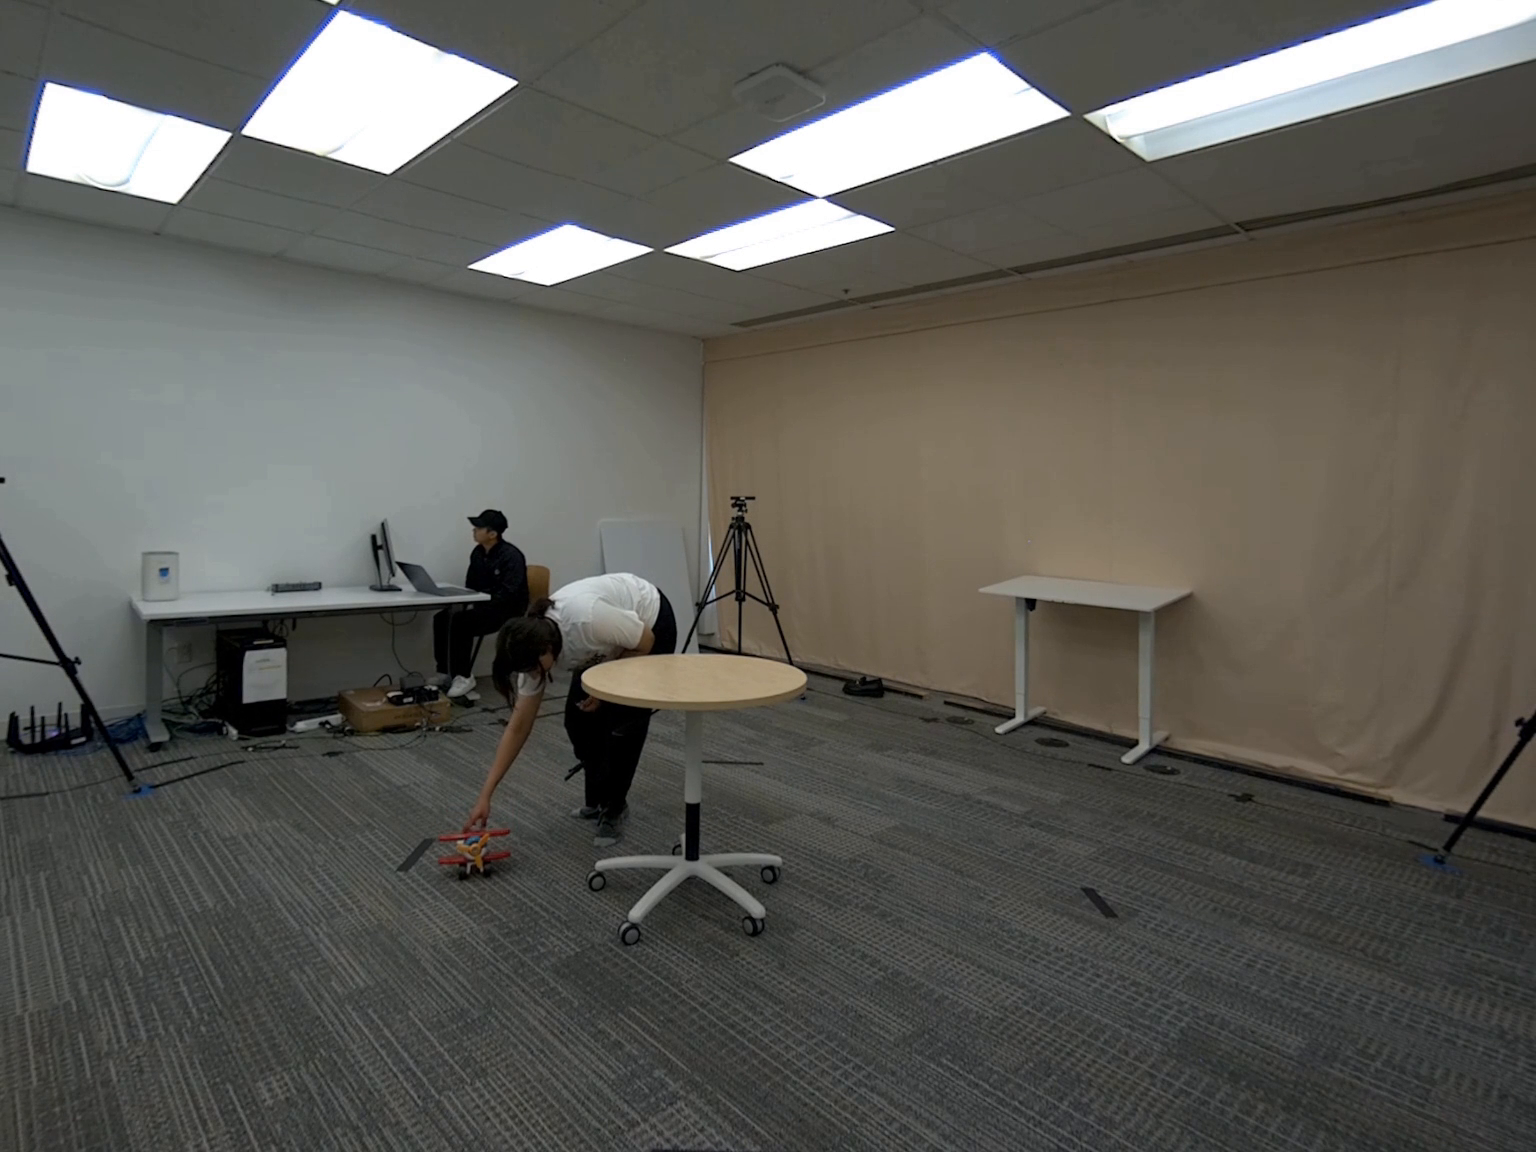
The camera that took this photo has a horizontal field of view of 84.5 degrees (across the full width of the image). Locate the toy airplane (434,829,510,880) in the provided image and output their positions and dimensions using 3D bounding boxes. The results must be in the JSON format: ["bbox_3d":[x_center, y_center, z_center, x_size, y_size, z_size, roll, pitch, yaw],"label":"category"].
[{"bbox_3d":[-1.119,1.014,3.111,0.266,0.156,0.246,6,9,44],"label":"toy airplane"}]
